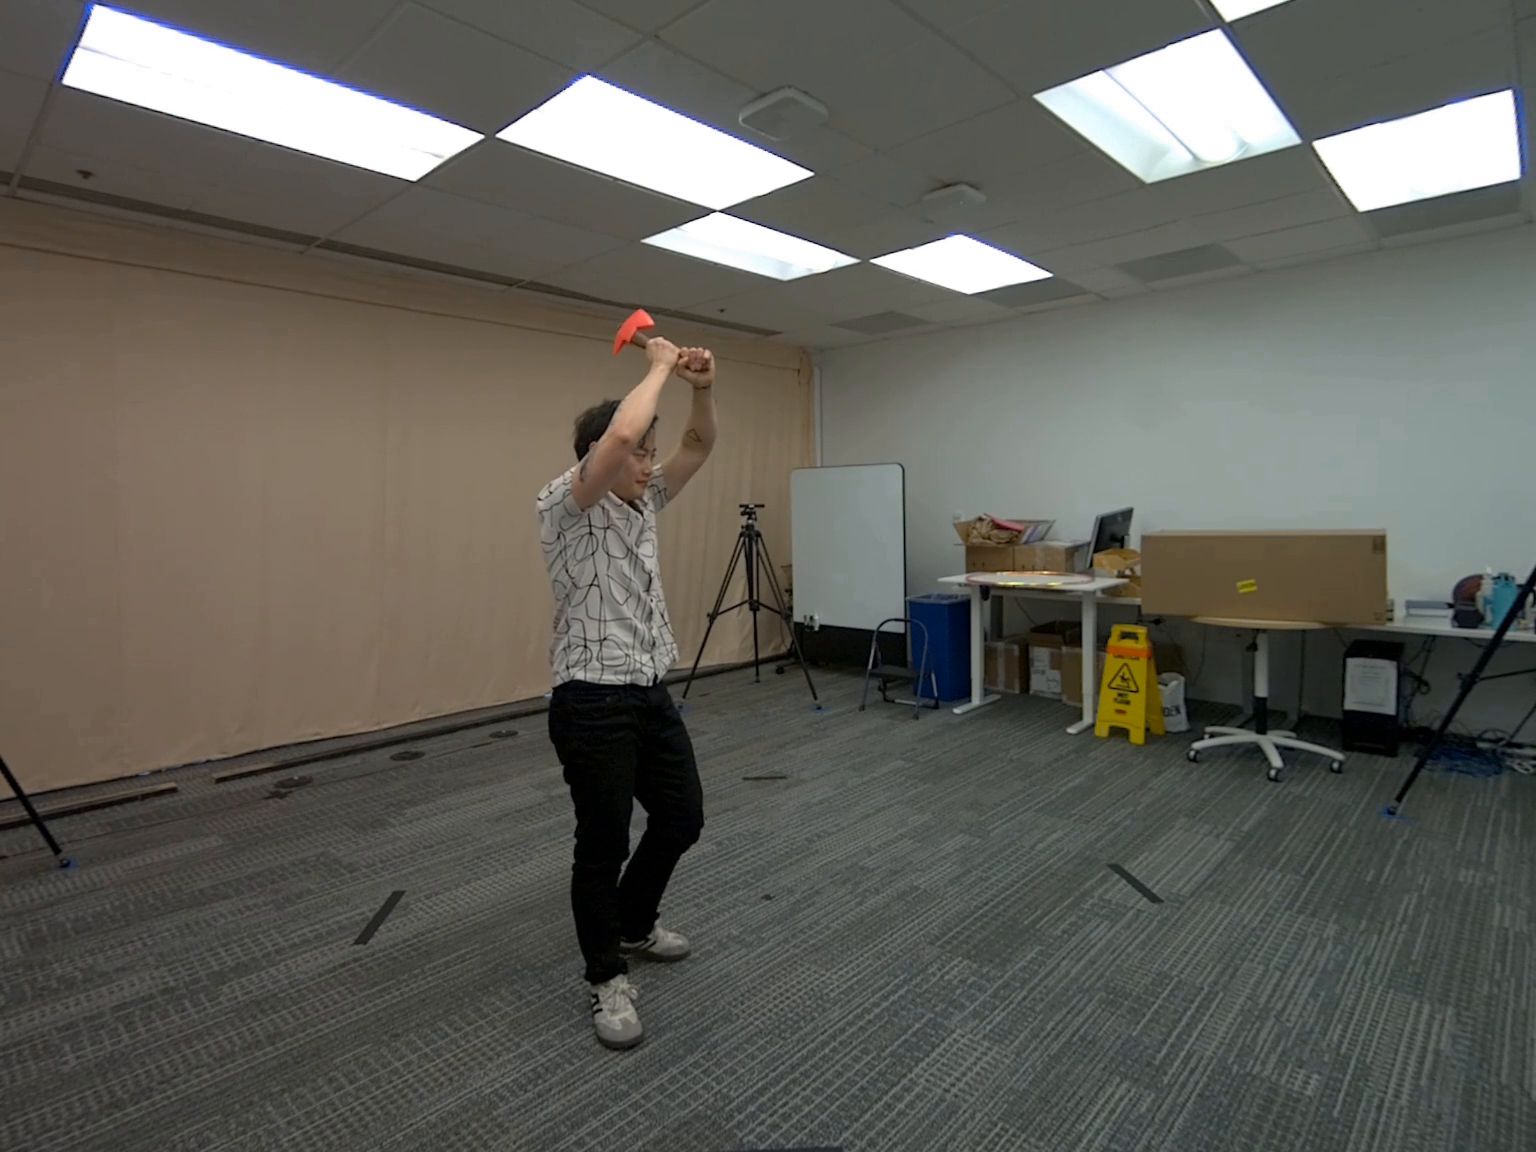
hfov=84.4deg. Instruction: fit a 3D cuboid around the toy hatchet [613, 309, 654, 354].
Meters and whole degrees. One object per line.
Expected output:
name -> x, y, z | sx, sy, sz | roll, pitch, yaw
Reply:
toy hatchet -> -0.267, -0.626, 2.183 | 0.275, 0.131, 0.029 | 10, -3, 16
